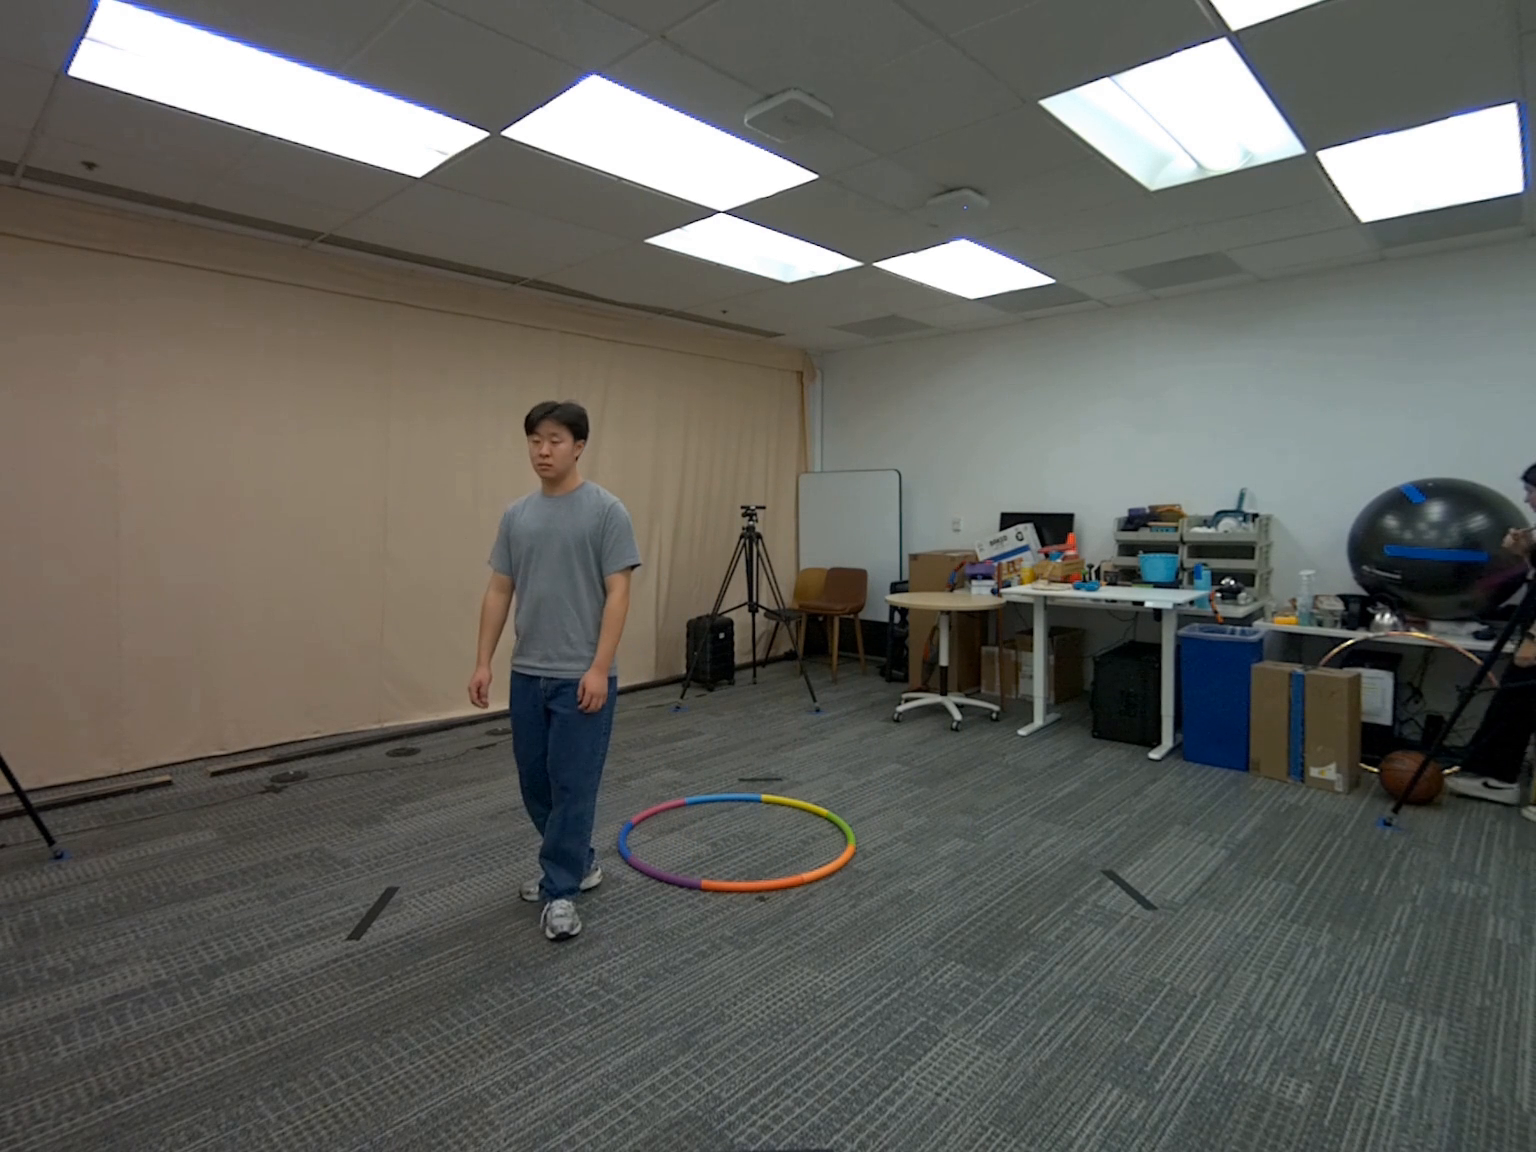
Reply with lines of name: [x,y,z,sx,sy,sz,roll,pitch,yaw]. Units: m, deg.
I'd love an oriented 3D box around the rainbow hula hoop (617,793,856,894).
rainbow hula hoop: [-0.131,1.069,3.506,0.978,0.035,0.982,-1,5,-2]
